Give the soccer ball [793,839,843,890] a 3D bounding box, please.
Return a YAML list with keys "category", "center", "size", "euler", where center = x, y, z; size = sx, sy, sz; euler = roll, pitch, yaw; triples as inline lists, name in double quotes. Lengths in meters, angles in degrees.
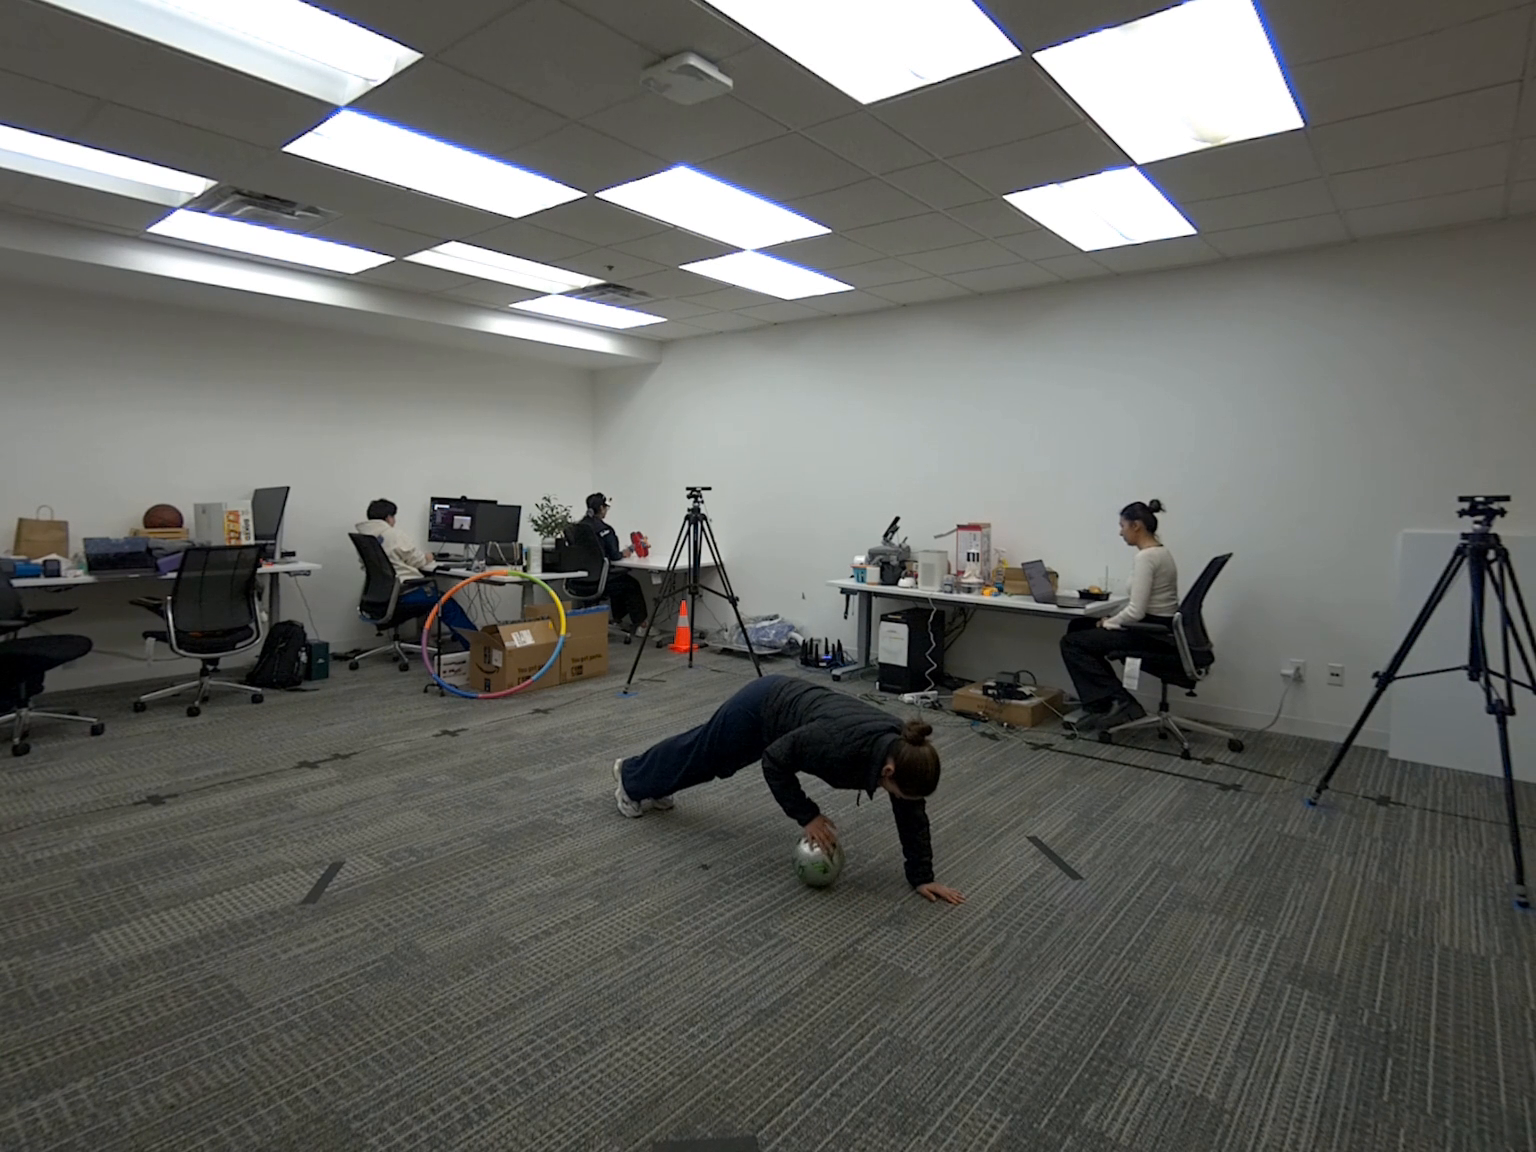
- category: "soccer ball"
  center: [0.176, 0.987, 3.001]
  size: [0.187, 0.187, 0.188]
  euler: [1, 4, -2]
